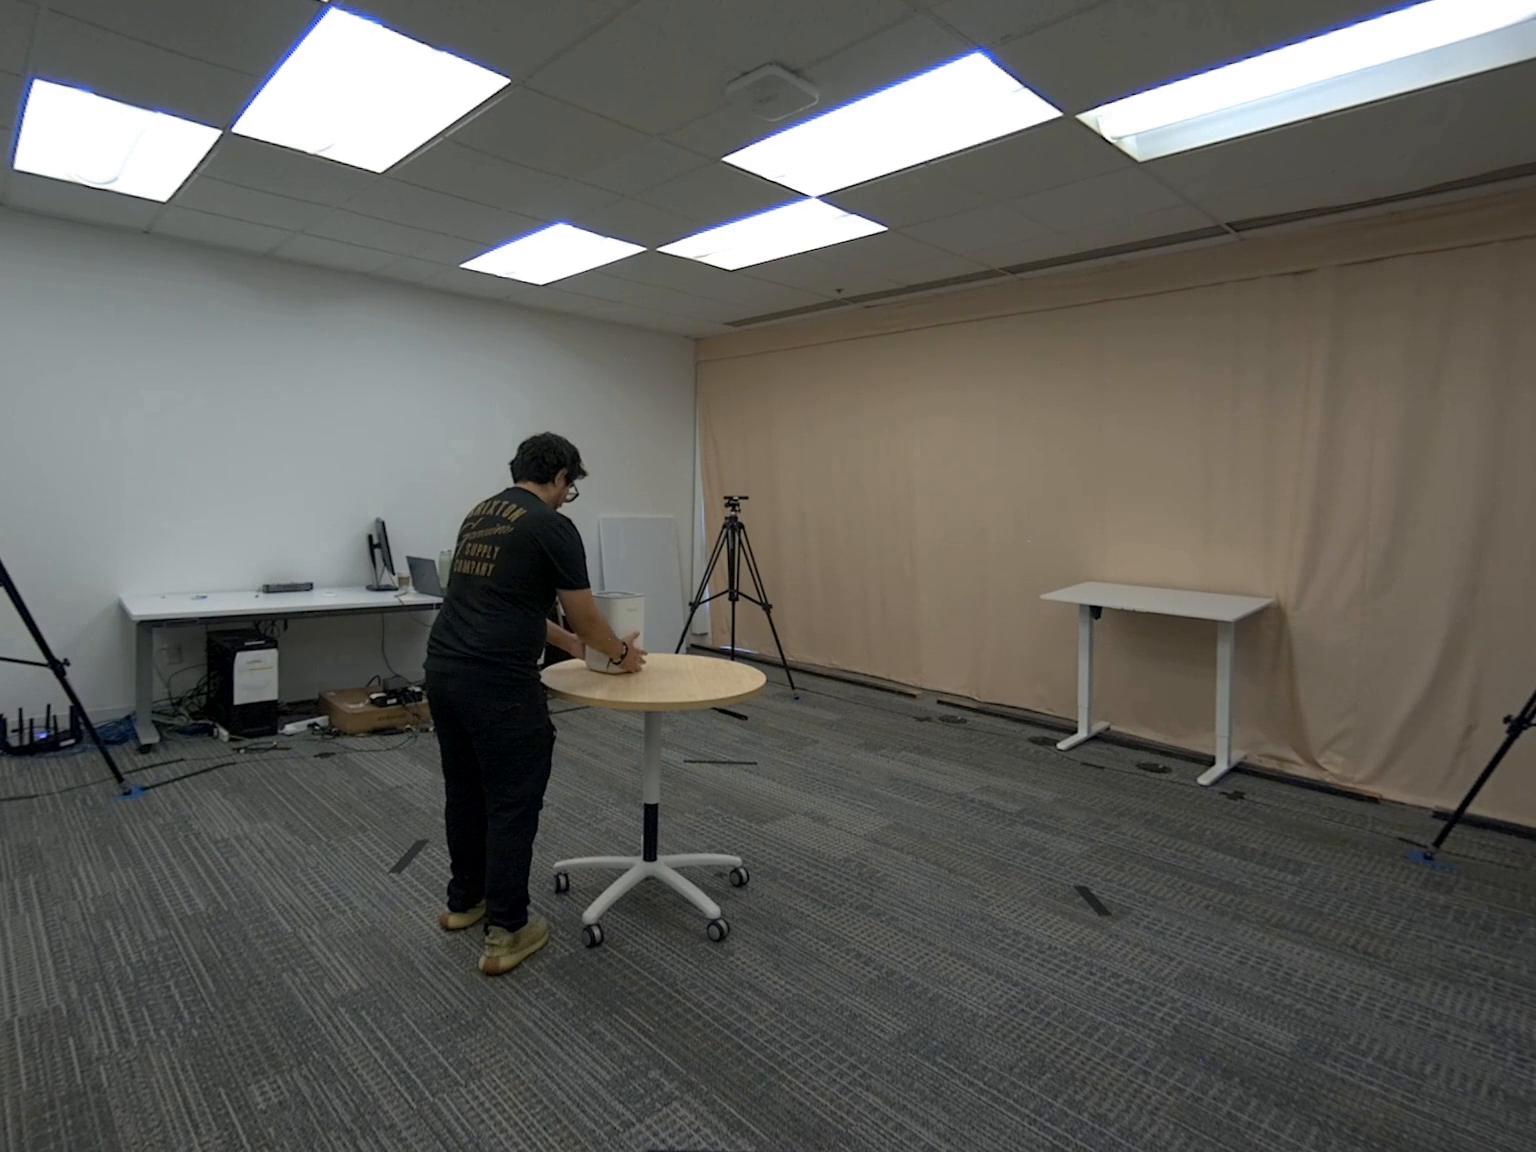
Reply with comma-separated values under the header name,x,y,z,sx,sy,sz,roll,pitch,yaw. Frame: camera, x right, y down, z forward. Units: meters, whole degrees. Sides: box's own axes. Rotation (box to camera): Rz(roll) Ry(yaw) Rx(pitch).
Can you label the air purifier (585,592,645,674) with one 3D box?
name,x,y,z,sx,sy,sz,roll,pitch,yaw
air purifier,-0.535,0.196,2.915,0.176,0.265,0.167,4,4,37
